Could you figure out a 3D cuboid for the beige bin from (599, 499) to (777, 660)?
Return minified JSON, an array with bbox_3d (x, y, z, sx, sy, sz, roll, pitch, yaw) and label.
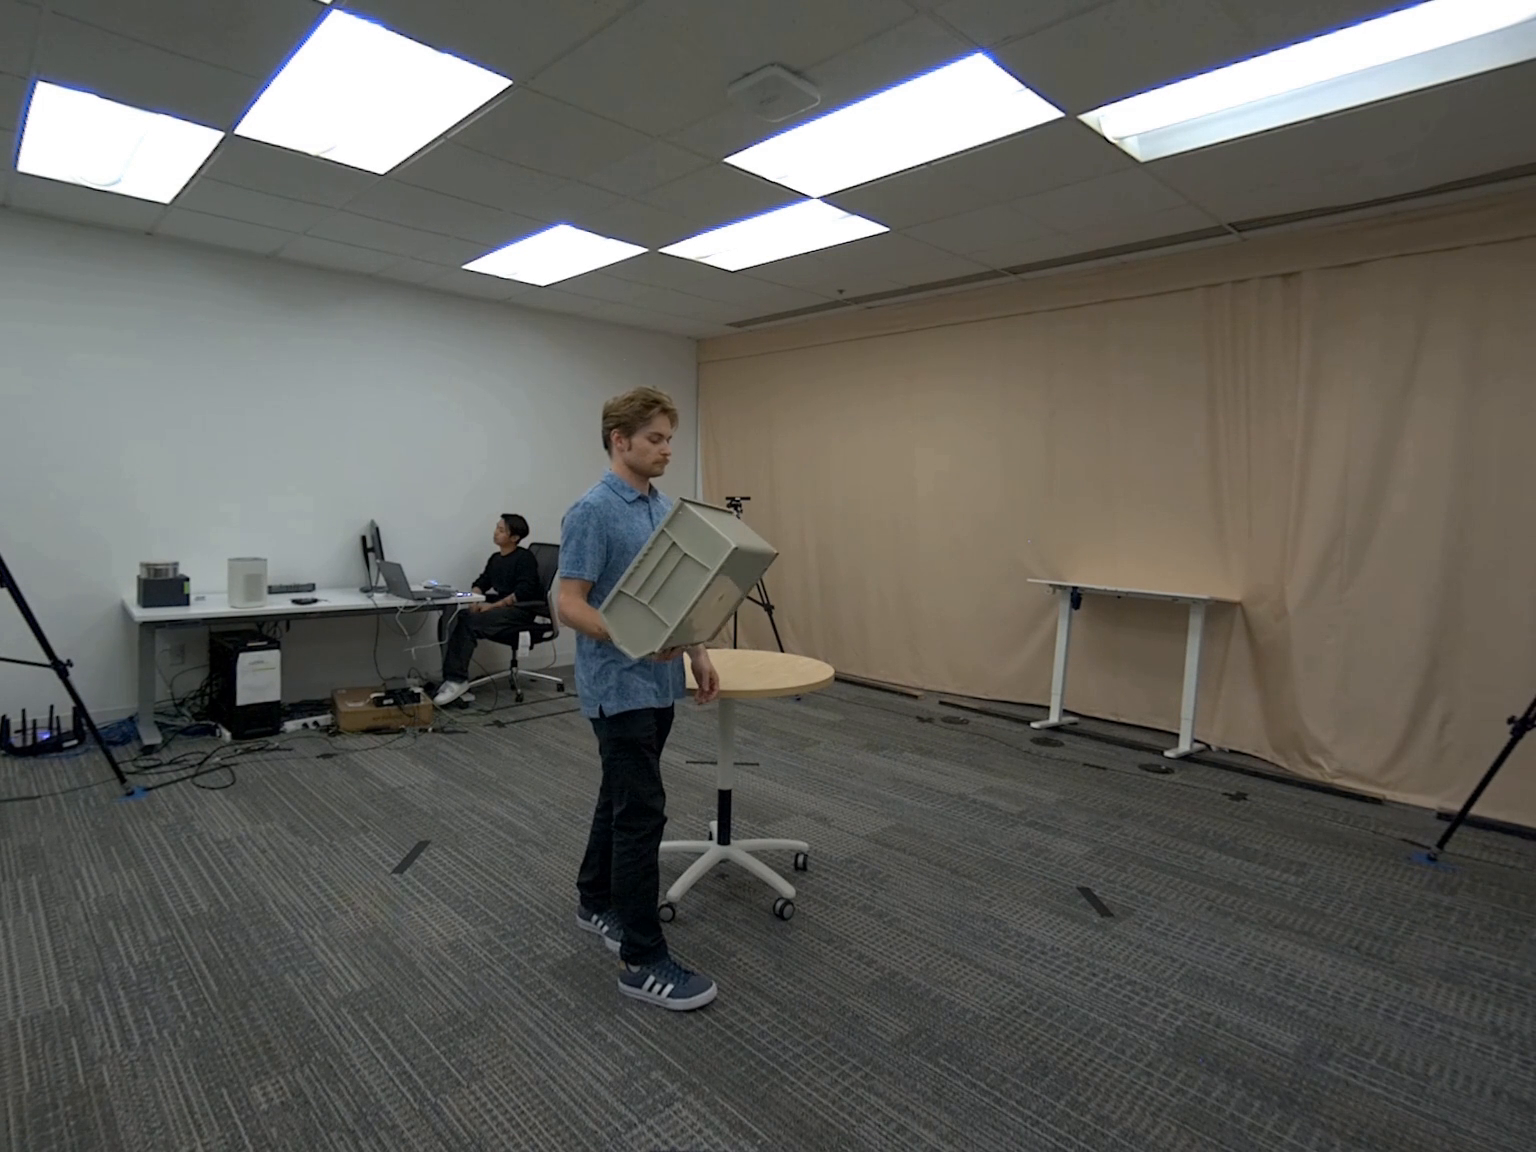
[{"bbox_3d":[-0.191,0.024,2.134,0.192,0.377,0.416,40,10,14],"label":"beige bin"}]
